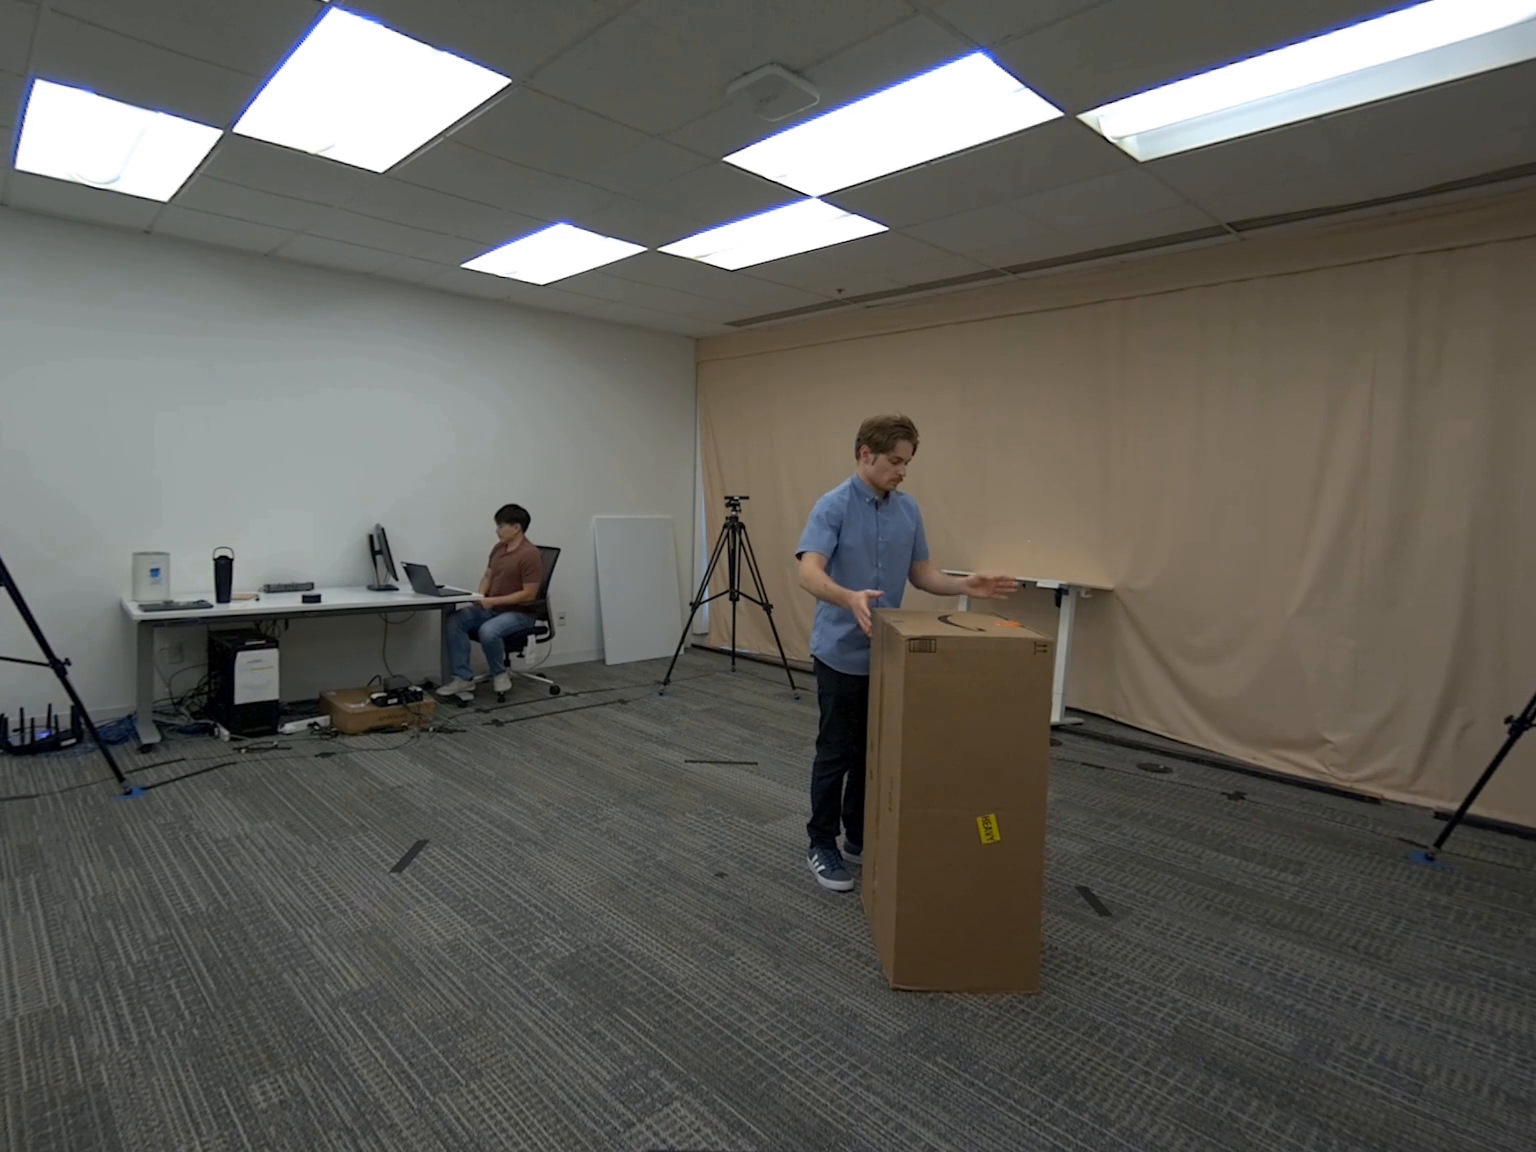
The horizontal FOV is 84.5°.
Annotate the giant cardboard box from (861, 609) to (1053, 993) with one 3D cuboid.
[{"bbox_3d":[0.567,0.652,2.652,0.426,1.023,0.579,2,3,-1],"label":"giant cardboard box"}]
